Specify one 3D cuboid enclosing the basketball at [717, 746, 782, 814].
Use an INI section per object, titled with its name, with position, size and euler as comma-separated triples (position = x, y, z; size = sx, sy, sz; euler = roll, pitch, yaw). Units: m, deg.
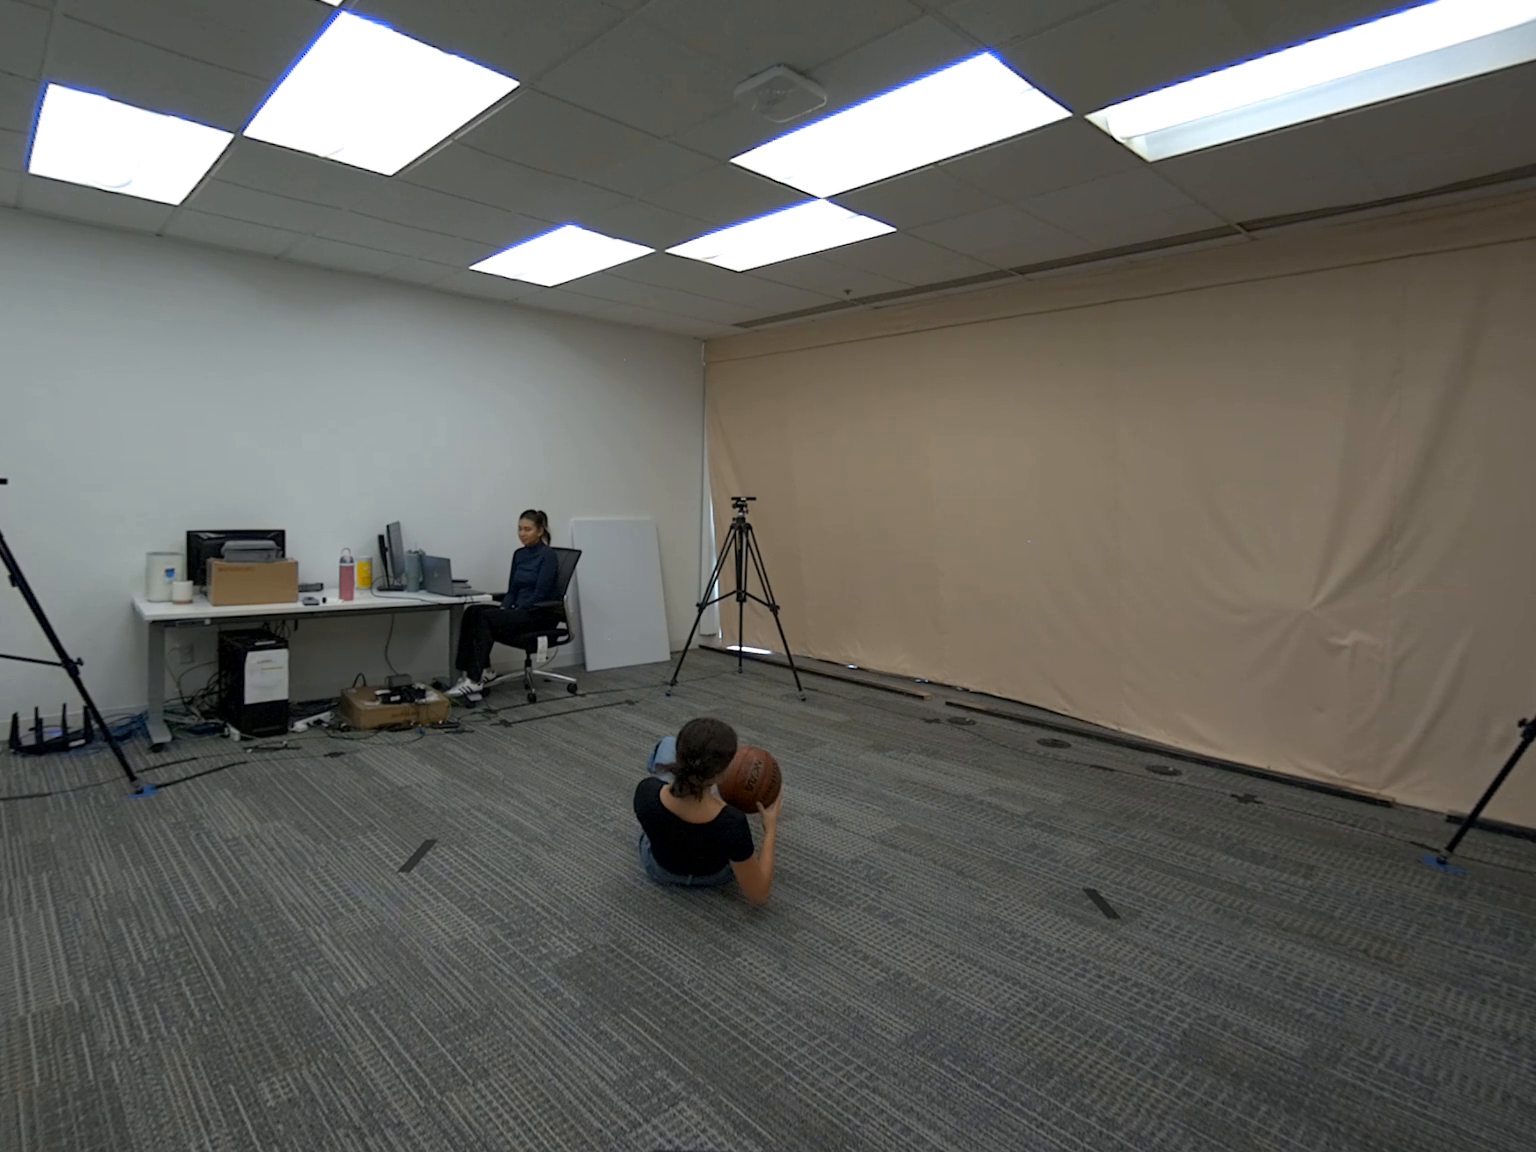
[basketball]
position = -0.079, 0.752, 3.059
size = 0.236, 0.235, 0.237
euler = 1, 4, -1
